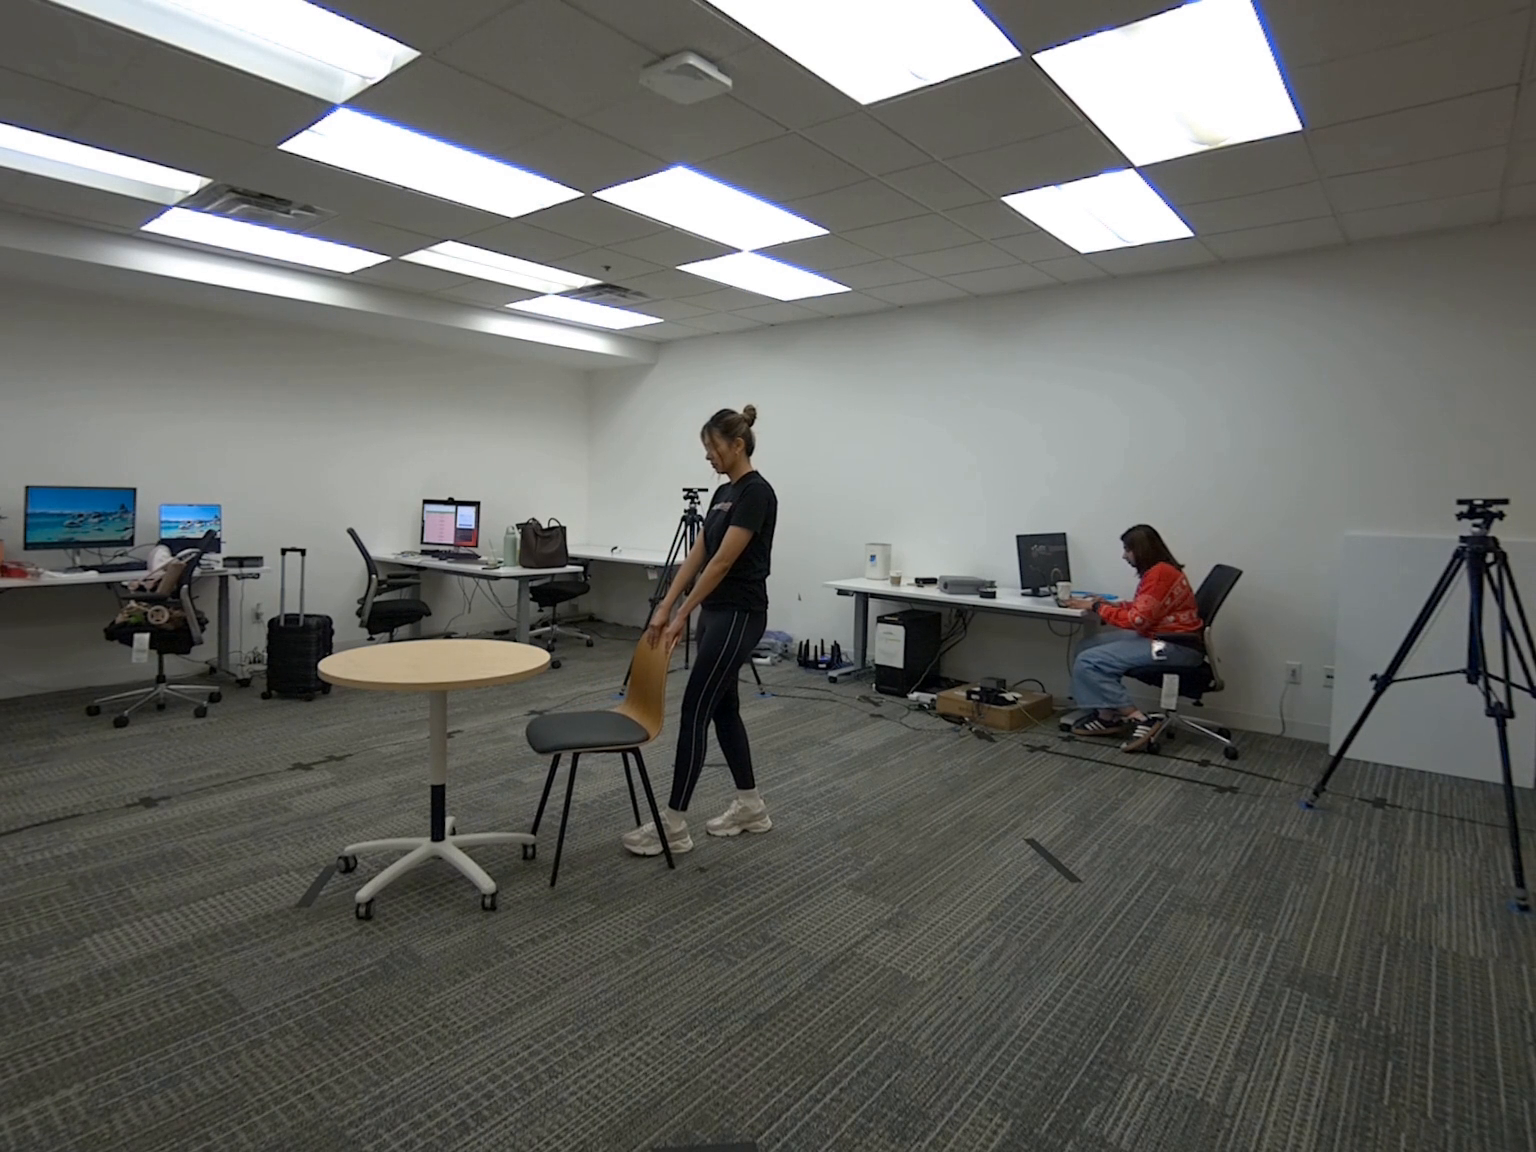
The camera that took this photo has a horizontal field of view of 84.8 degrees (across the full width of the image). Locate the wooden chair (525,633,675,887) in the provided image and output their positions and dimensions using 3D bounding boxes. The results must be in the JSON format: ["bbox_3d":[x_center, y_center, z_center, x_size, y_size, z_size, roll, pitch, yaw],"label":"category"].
[{"bbox_3d":[-0.645,0.626,3.200,0.511,0.876,0.490,5,2,-23],"label":"wooden chair"}]
